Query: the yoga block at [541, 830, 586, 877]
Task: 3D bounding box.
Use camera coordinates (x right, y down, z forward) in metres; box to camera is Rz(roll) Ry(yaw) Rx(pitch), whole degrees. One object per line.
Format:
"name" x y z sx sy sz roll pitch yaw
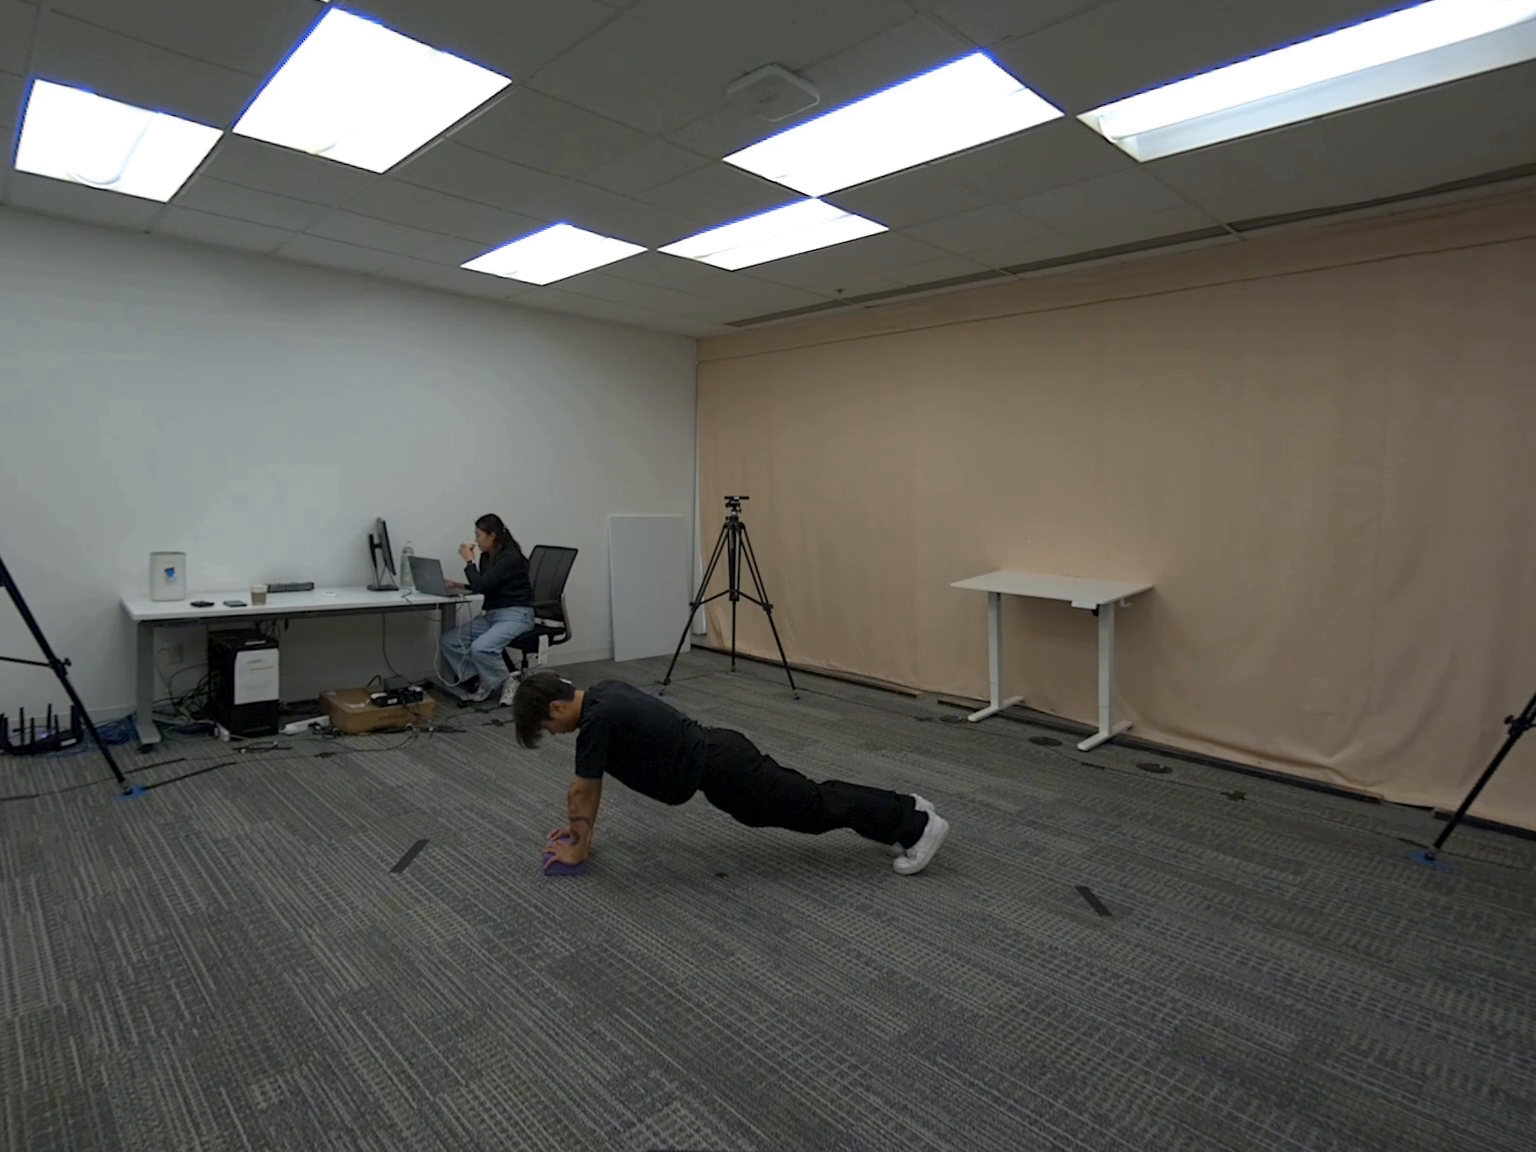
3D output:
"yoga block" -0.763 1.044 3.178 0.148 0.076 0.231 1 6 -7
